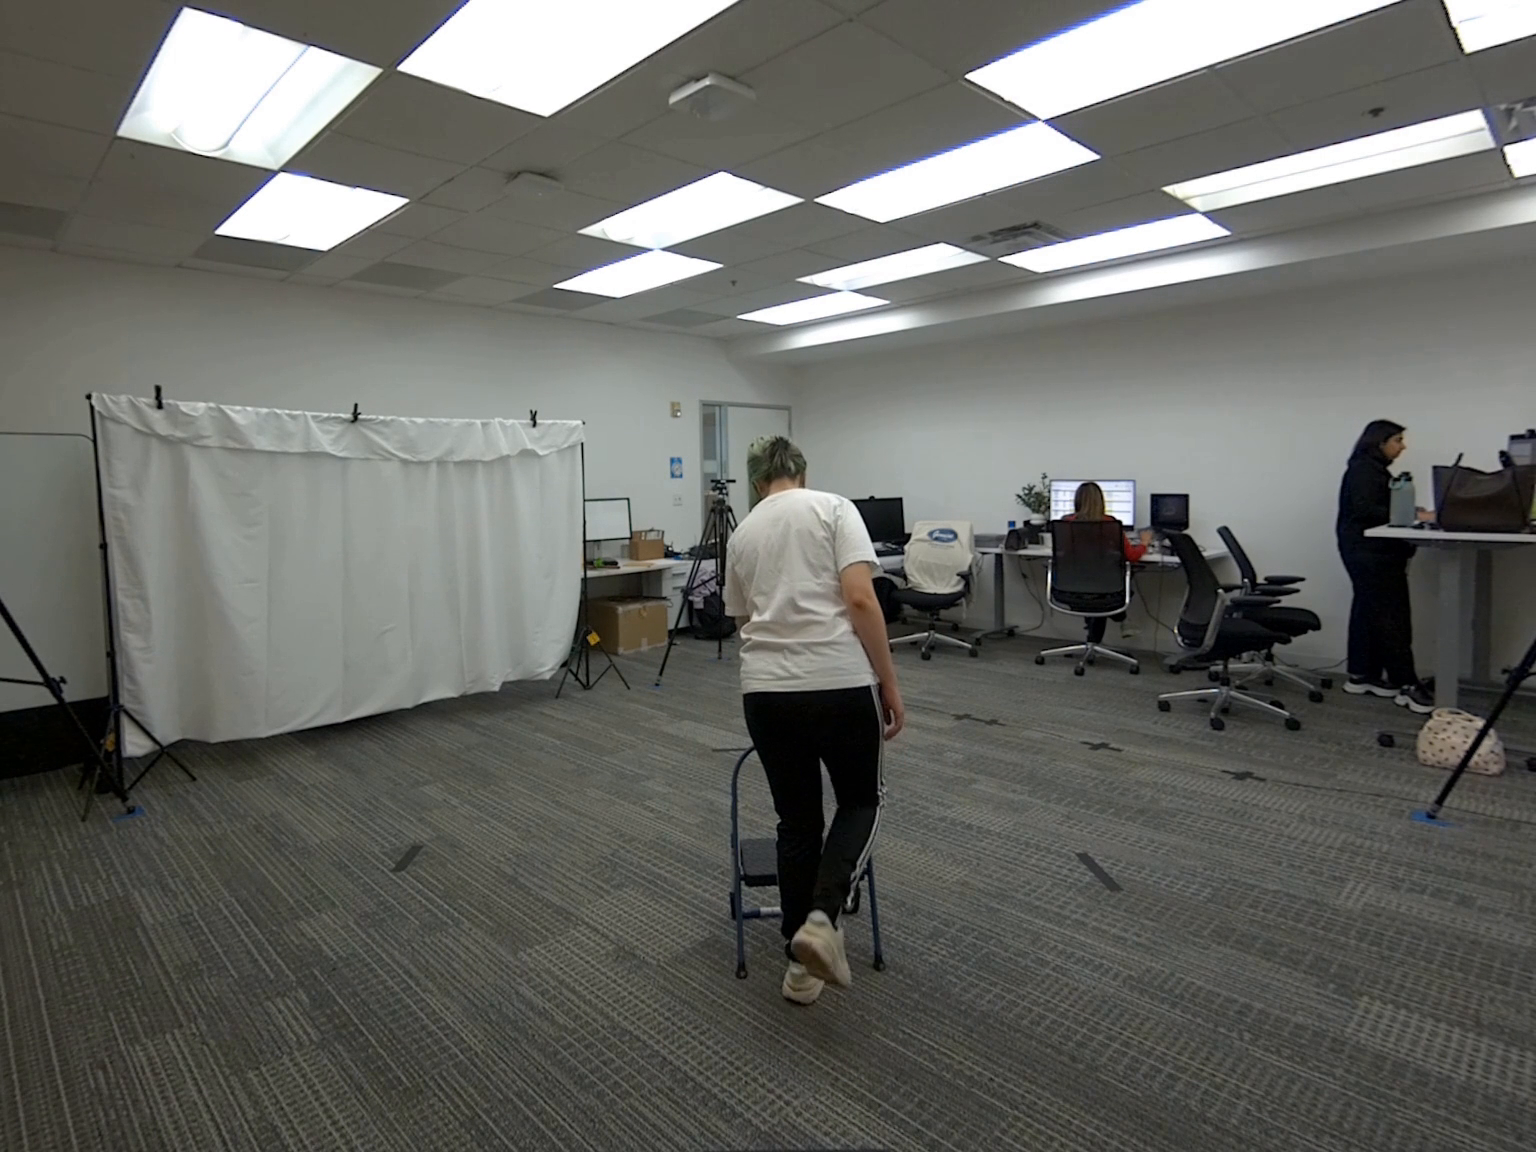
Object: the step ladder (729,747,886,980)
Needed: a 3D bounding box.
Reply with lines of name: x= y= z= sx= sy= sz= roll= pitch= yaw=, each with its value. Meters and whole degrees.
step ladder: x=0.104 y=0.809 z=2.564 sx=0.429 sy=0.604 sz=0.352 roll=-1 pitch=4 yaw=-5
